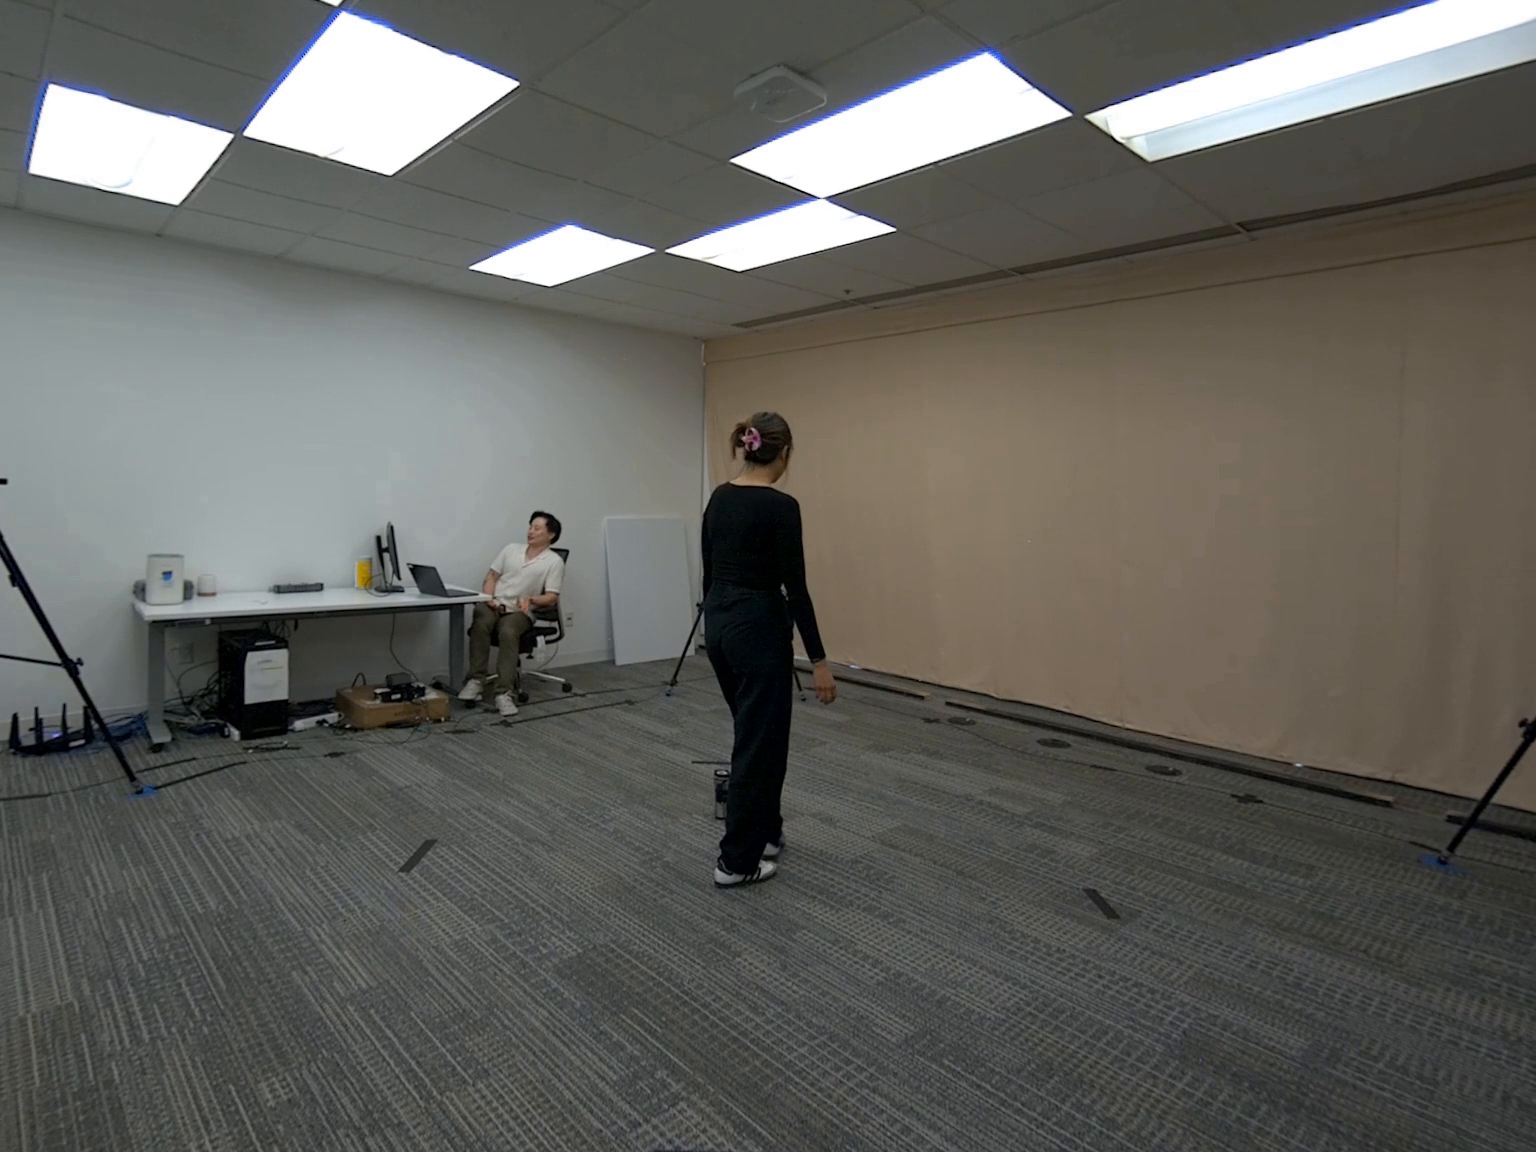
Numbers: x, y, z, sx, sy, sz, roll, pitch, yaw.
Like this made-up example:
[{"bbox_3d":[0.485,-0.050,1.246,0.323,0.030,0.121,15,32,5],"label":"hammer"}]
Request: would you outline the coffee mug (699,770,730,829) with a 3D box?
[{"bbox_3d":[-0.216,0.963,3.663,0.090,0.202,0.119,8,4,40],"label":"coffee mug"}]
